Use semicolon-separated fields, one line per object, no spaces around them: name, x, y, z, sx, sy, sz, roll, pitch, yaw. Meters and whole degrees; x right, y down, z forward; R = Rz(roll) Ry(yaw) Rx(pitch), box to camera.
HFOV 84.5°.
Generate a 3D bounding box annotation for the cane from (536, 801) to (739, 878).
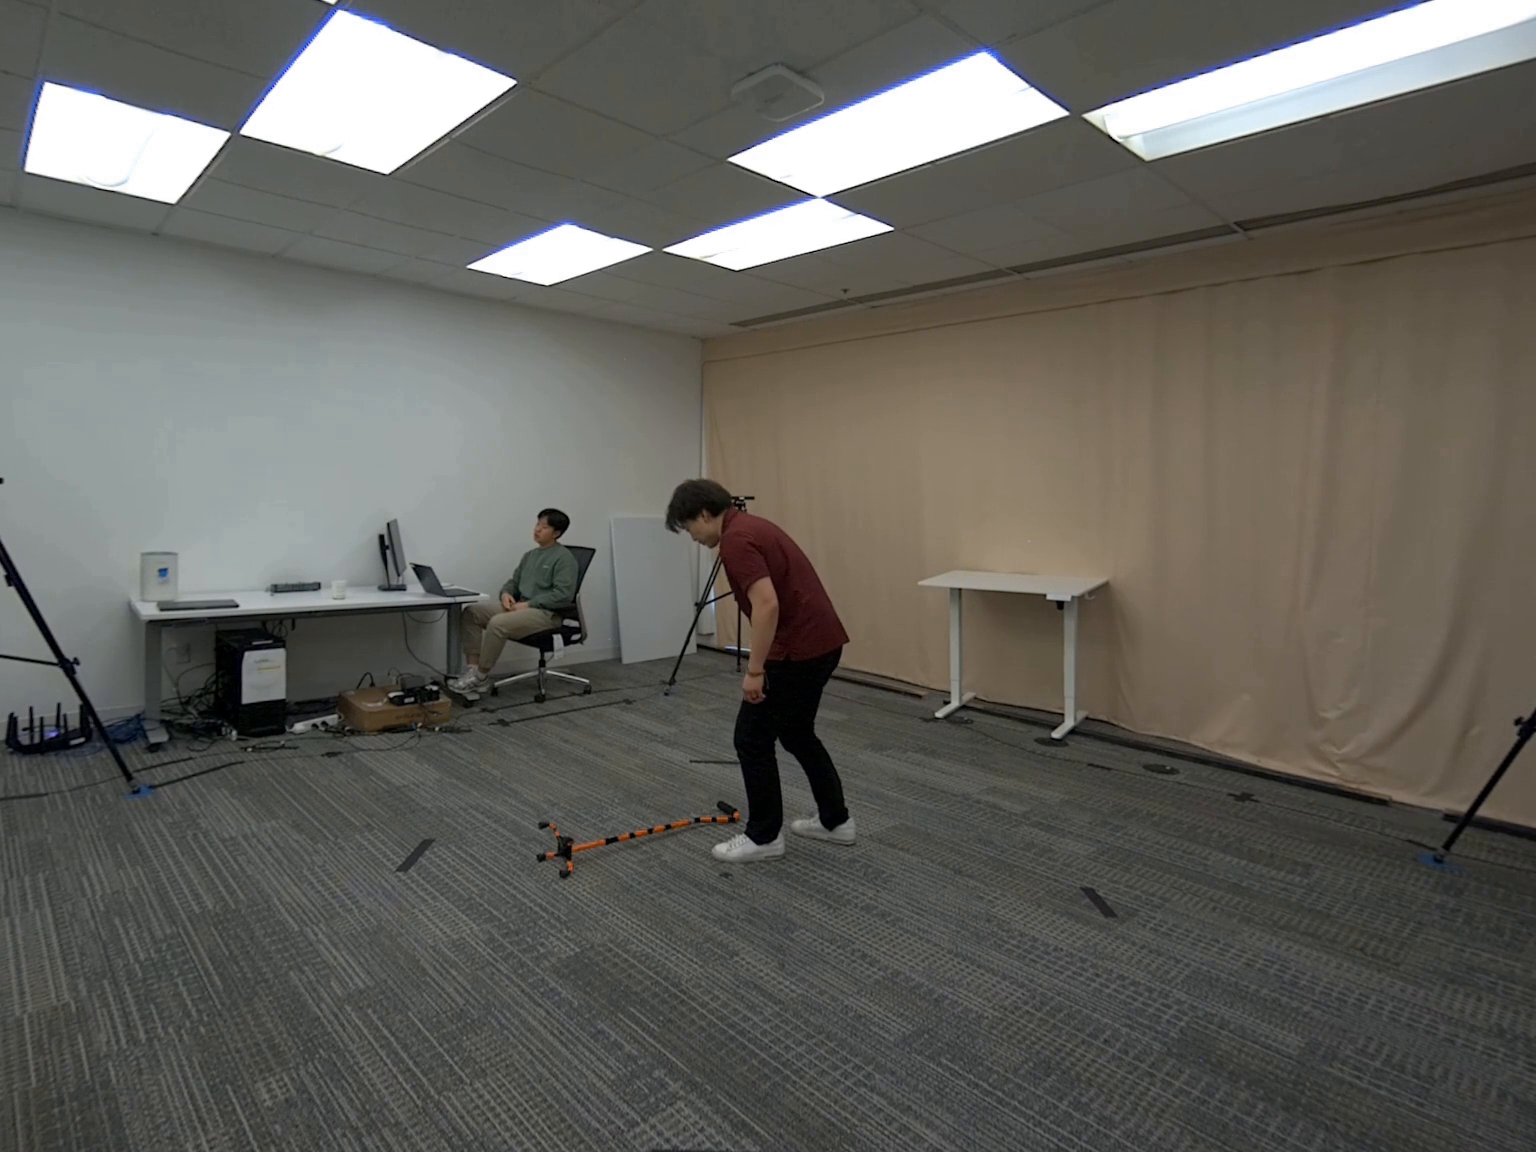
cane;-0.482;1.016;3.406;0.886;0.151;0.212;1;4;-42
